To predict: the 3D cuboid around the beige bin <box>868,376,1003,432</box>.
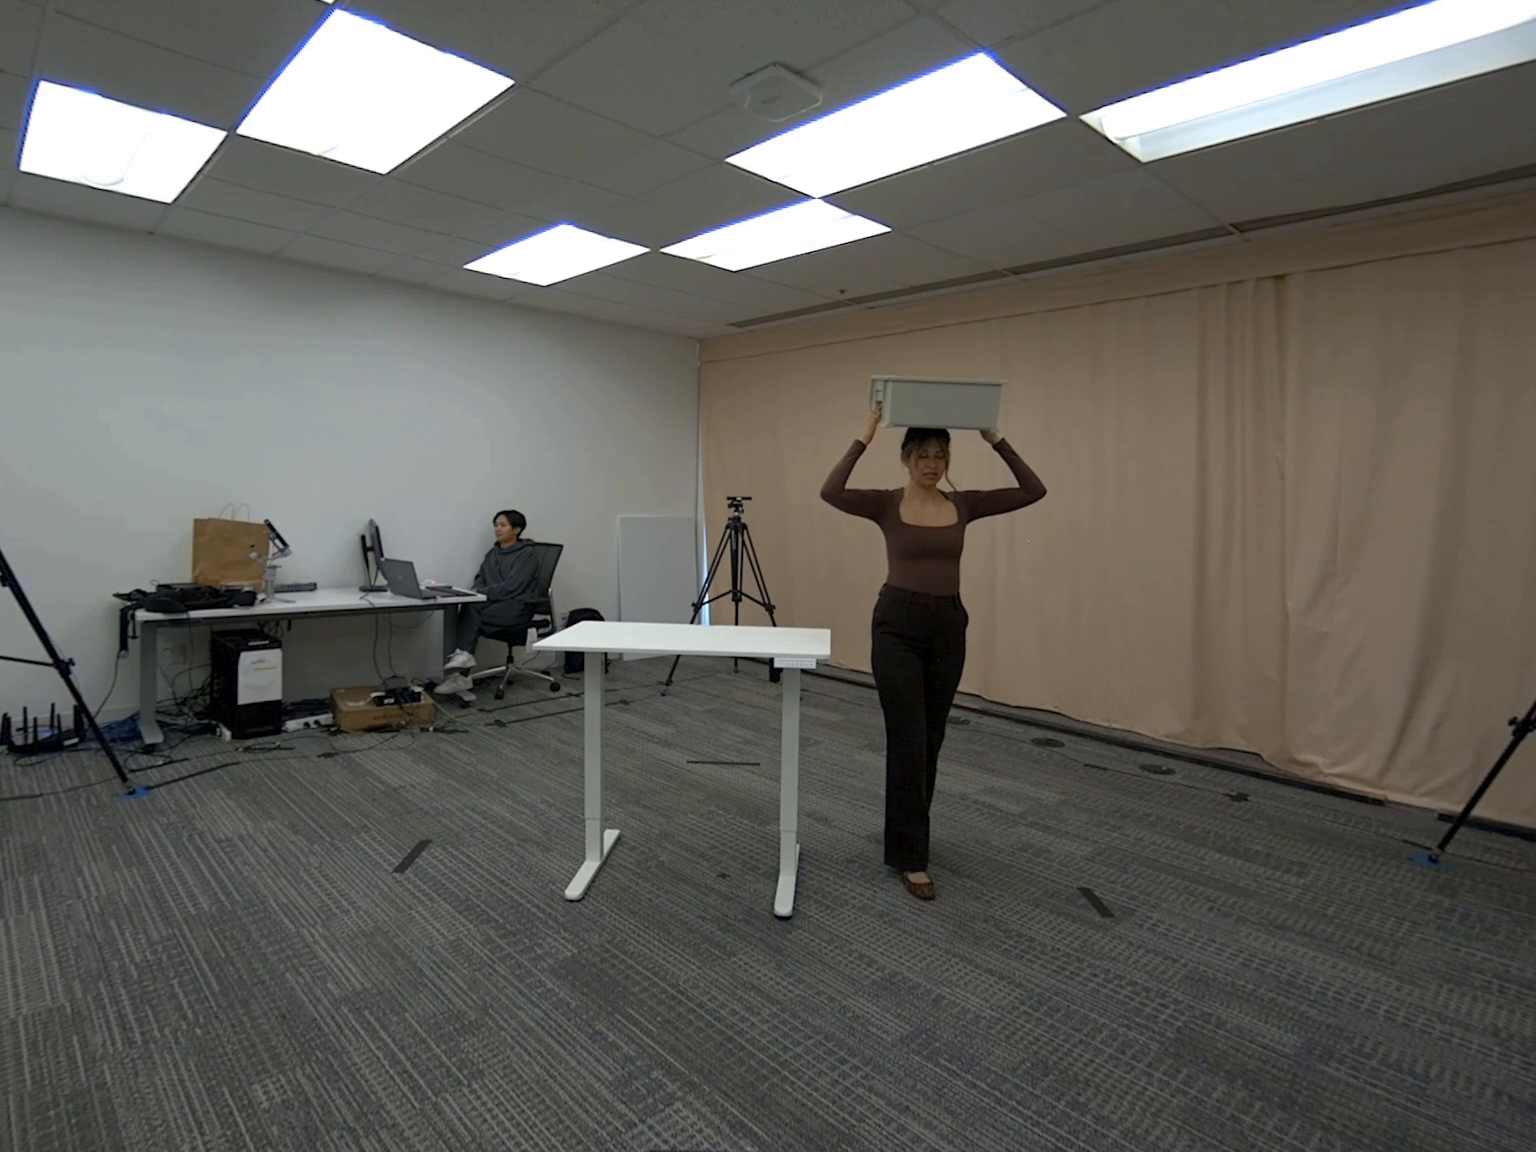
[{"bbox_3d":[0.604,-0.650,3.121,0.422,0.187,0.381,0,13,-1],"label":"beige bin"}]
